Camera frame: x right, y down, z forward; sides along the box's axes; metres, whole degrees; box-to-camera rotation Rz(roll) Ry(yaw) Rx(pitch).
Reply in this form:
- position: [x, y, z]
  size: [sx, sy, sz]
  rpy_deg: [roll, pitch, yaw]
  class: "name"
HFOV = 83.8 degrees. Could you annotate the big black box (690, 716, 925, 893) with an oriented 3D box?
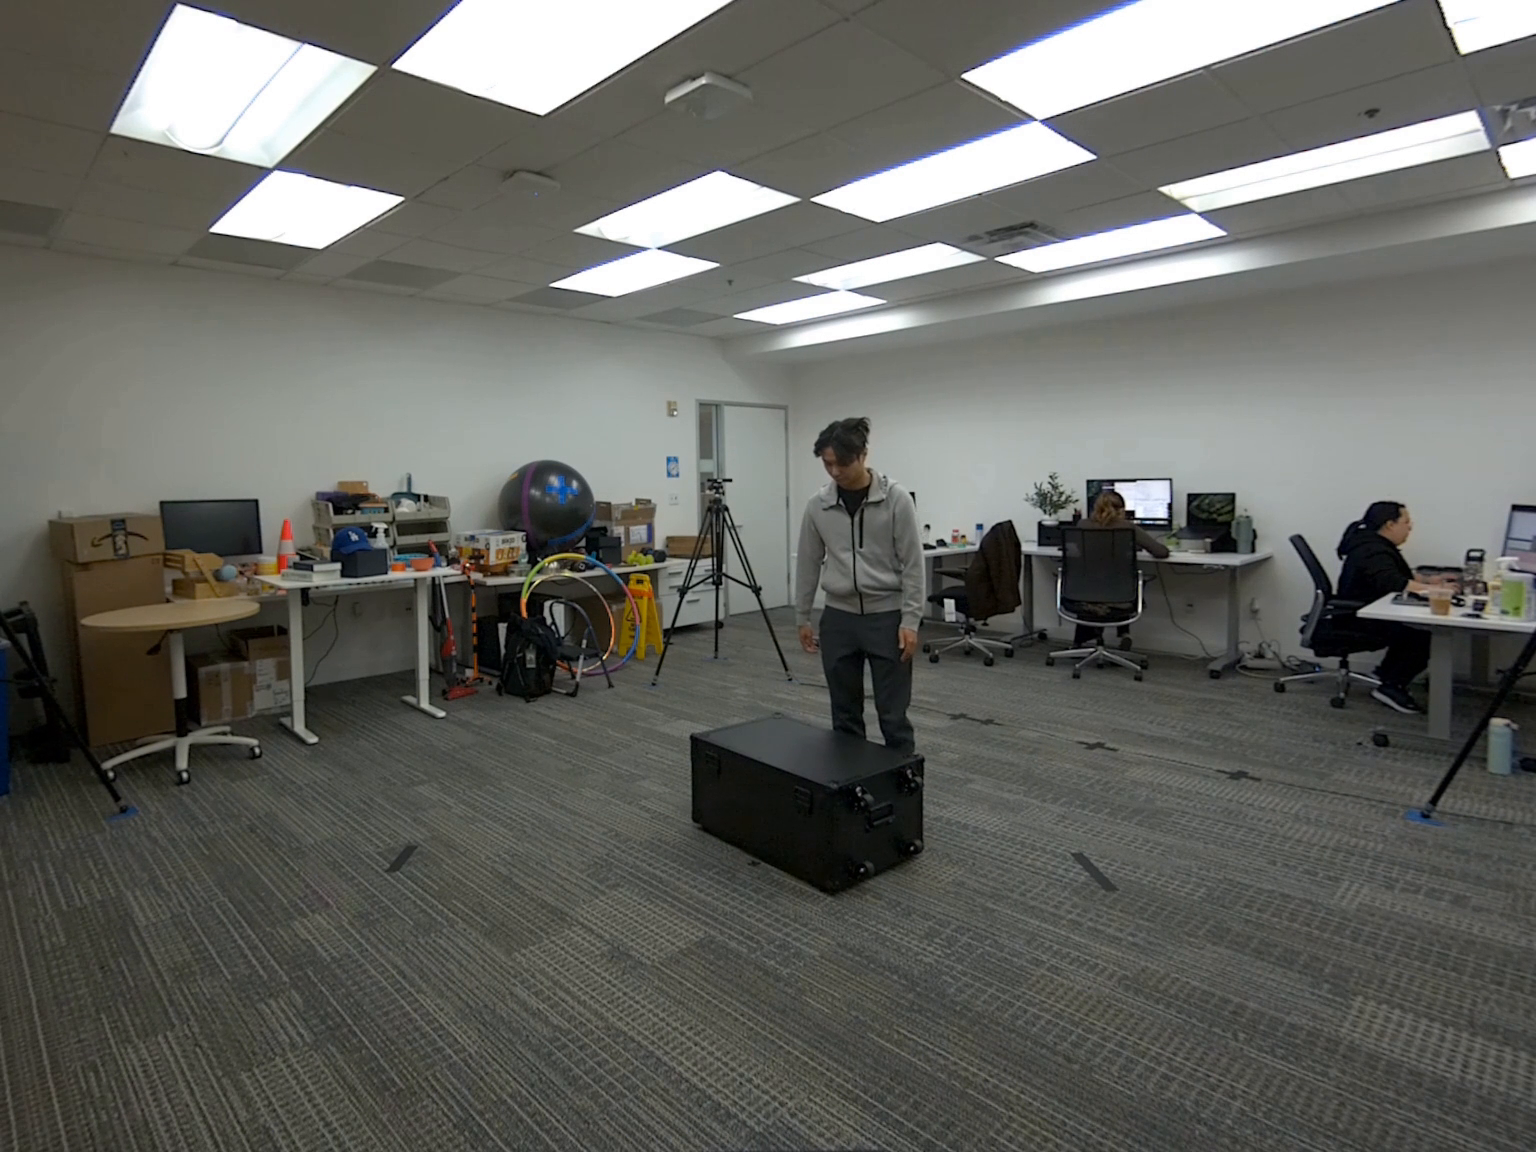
- position: [0.150, 0.836, 3.247]
  size: [0.507, 0.395, 0.888]
  rpy_deg: [-6, 7, -41]
  class: "big black box"
